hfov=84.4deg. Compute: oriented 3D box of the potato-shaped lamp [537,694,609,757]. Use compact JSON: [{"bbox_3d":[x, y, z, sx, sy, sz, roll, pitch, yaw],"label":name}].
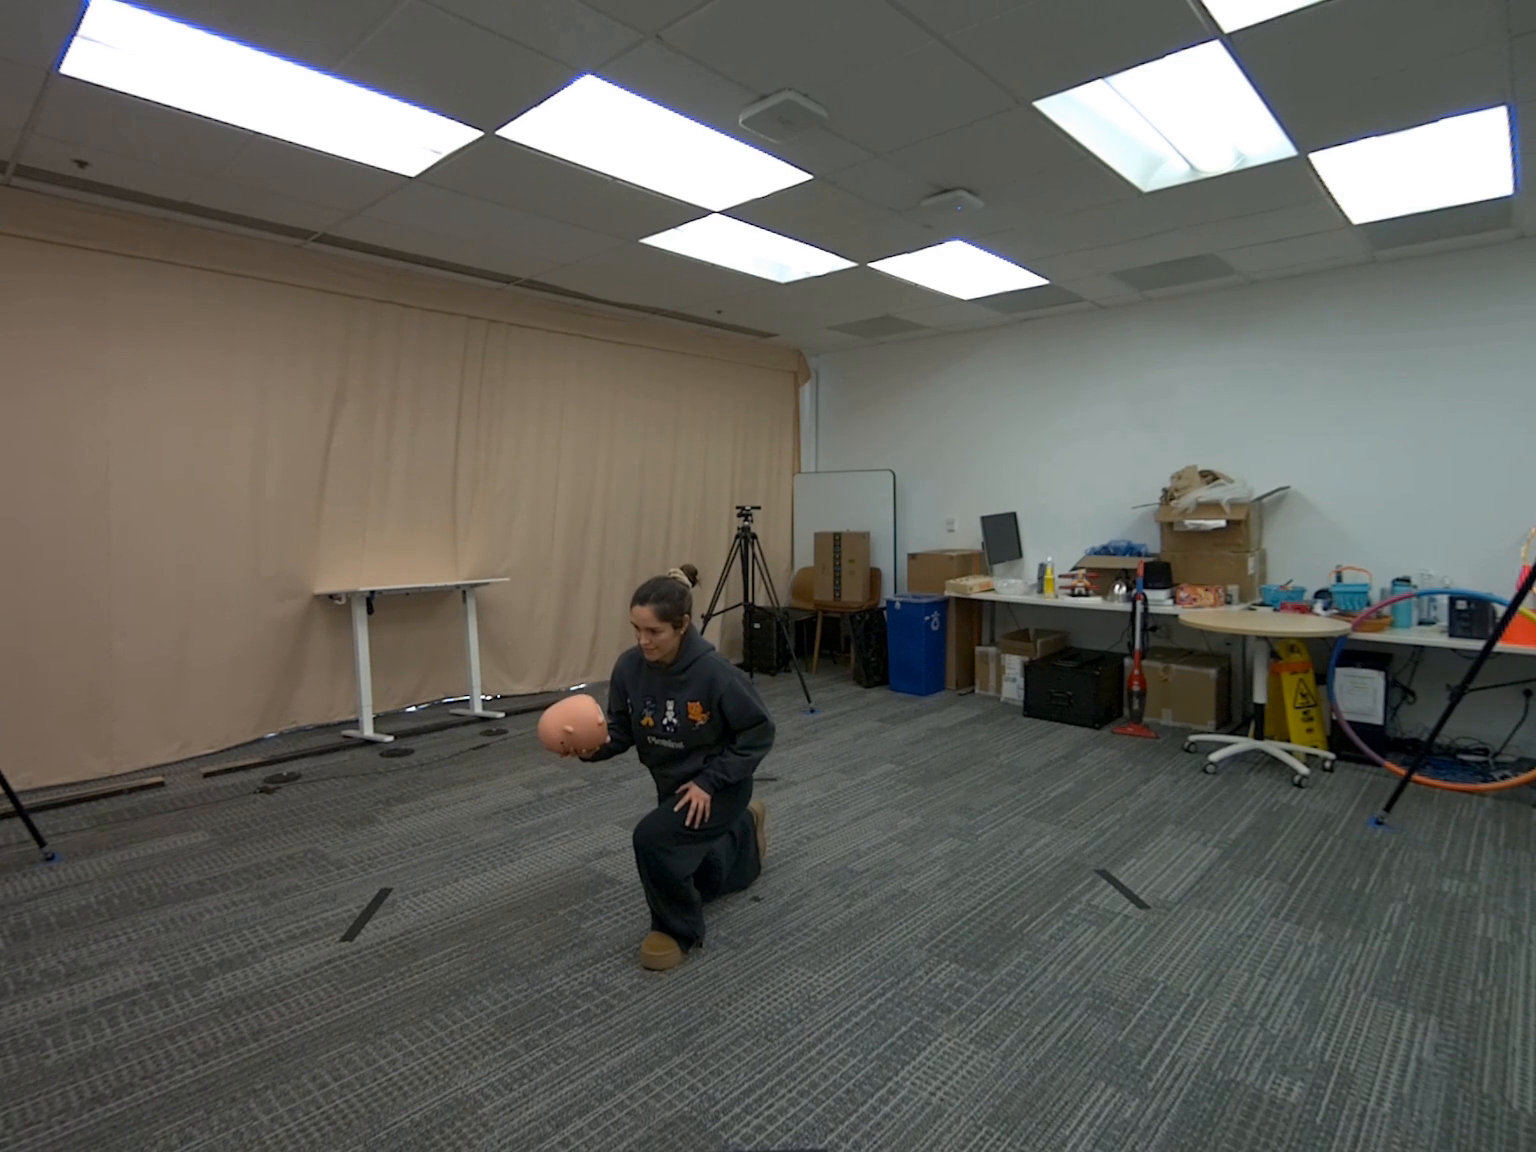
[{"bbox_3d":[-0.584,0.462,2.513,0.196,0.161,0.177,-25,52,-16],"label":"potato-shaped lamp"}]
